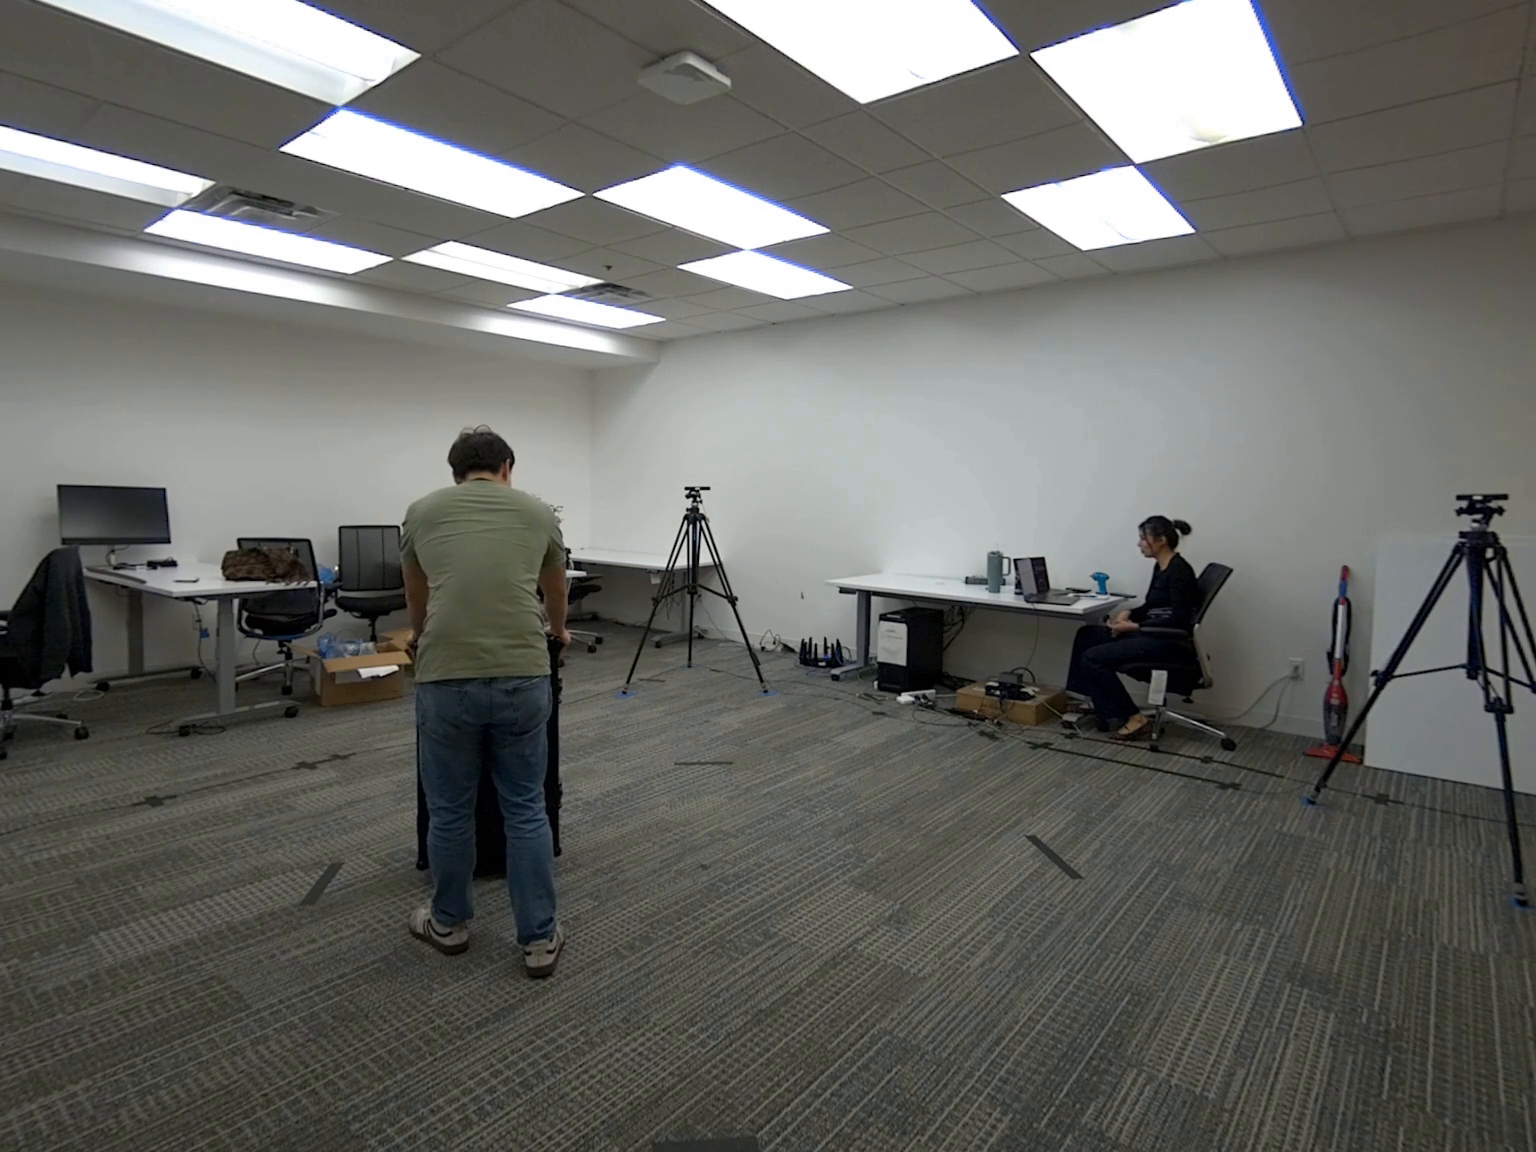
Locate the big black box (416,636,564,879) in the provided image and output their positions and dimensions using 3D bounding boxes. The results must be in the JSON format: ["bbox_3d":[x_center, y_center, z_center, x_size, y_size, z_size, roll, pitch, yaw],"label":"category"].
[{"bbox_3d":[-1.043,0.629,3.123,0.513,0.860,0.403,-1,2,-16],"label":"big black box"}]
